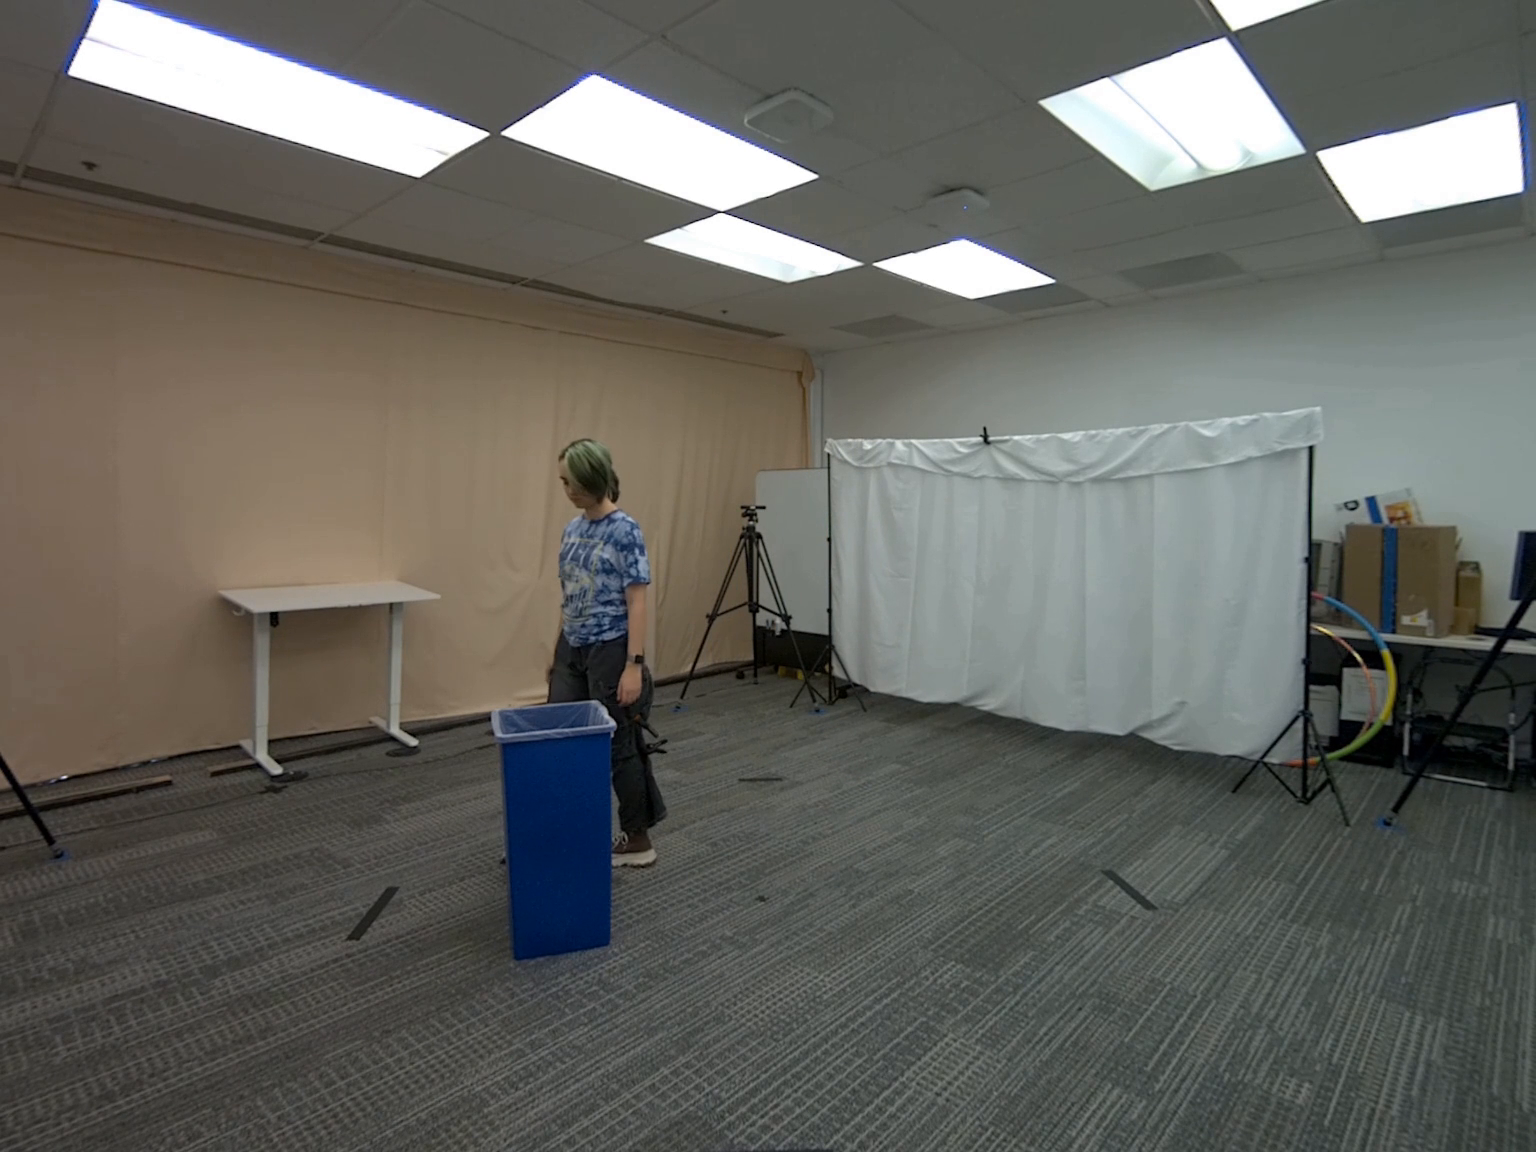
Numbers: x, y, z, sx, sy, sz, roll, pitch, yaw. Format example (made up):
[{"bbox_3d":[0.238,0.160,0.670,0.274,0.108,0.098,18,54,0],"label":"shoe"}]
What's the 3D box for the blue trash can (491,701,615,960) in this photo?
[{"bbox_3d":[-0.702,0.812,2.751,0.367,0.712,0.386,-2,3,-19],"label":"blue trash can"}]
